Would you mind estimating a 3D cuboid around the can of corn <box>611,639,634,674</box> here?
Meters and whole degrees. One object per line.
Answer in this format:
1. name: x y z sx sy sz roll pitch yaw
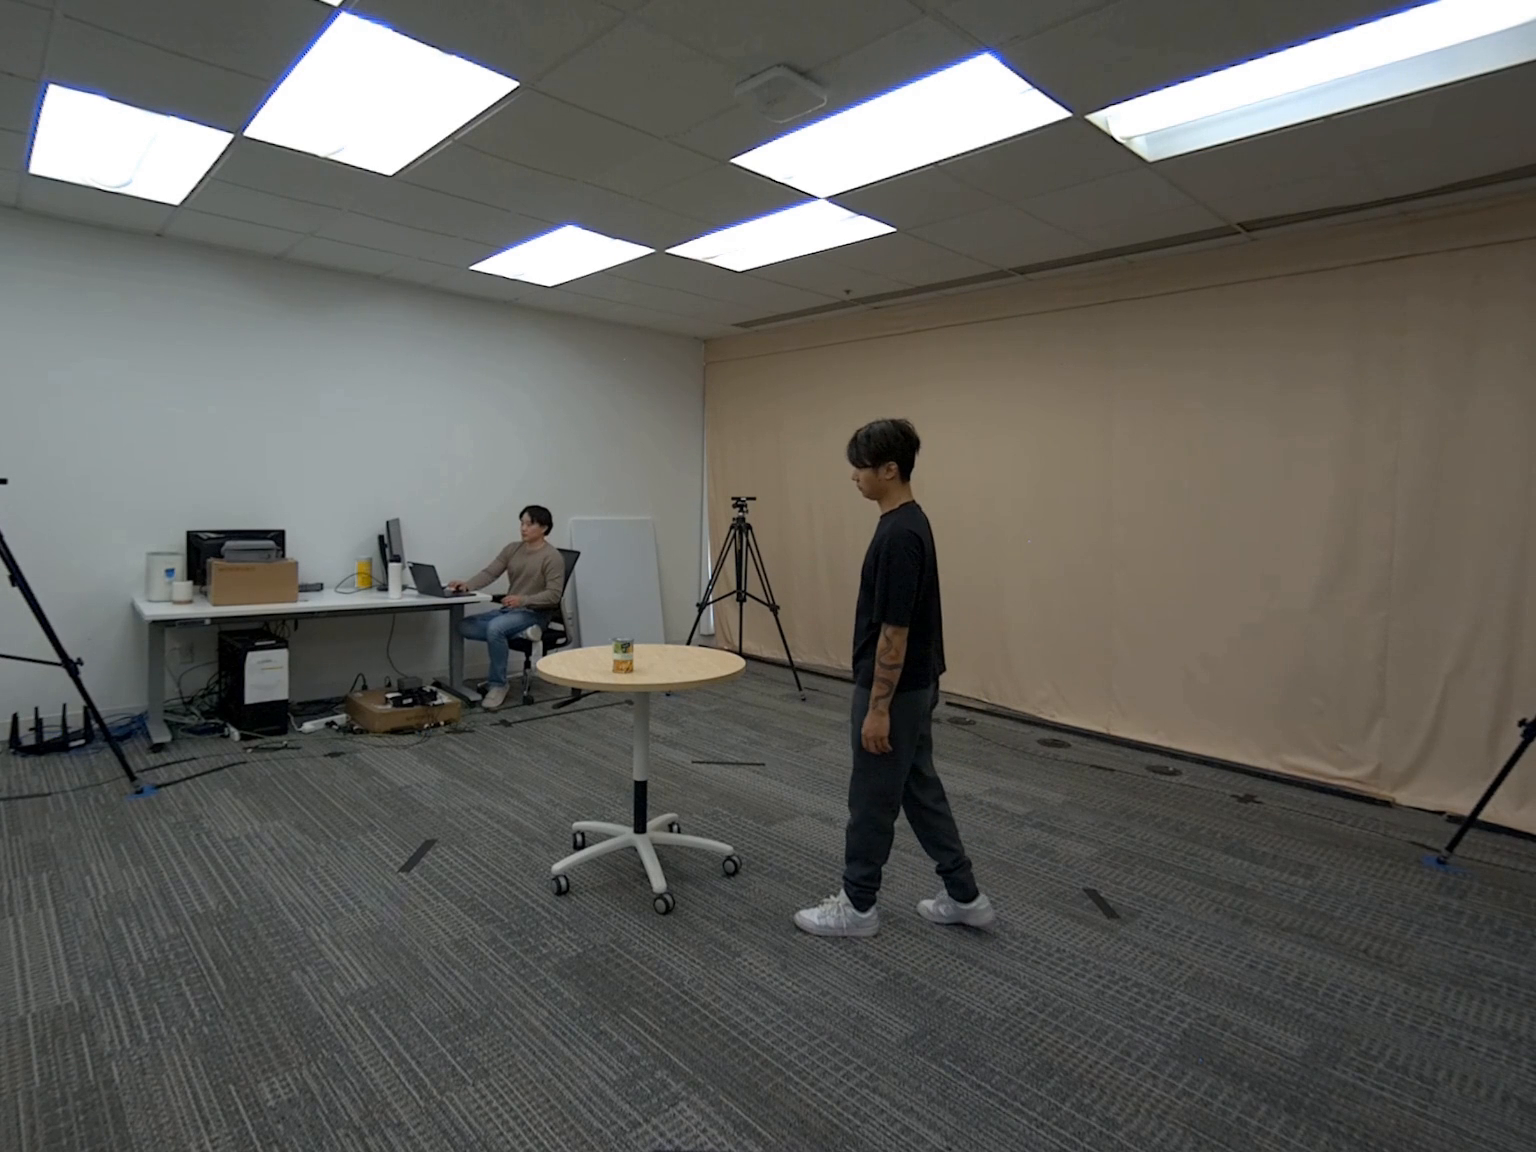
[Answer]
1. can of corn: -0.505 0.275 2.922 0.074 0.110 0.074 -1 5 -1
